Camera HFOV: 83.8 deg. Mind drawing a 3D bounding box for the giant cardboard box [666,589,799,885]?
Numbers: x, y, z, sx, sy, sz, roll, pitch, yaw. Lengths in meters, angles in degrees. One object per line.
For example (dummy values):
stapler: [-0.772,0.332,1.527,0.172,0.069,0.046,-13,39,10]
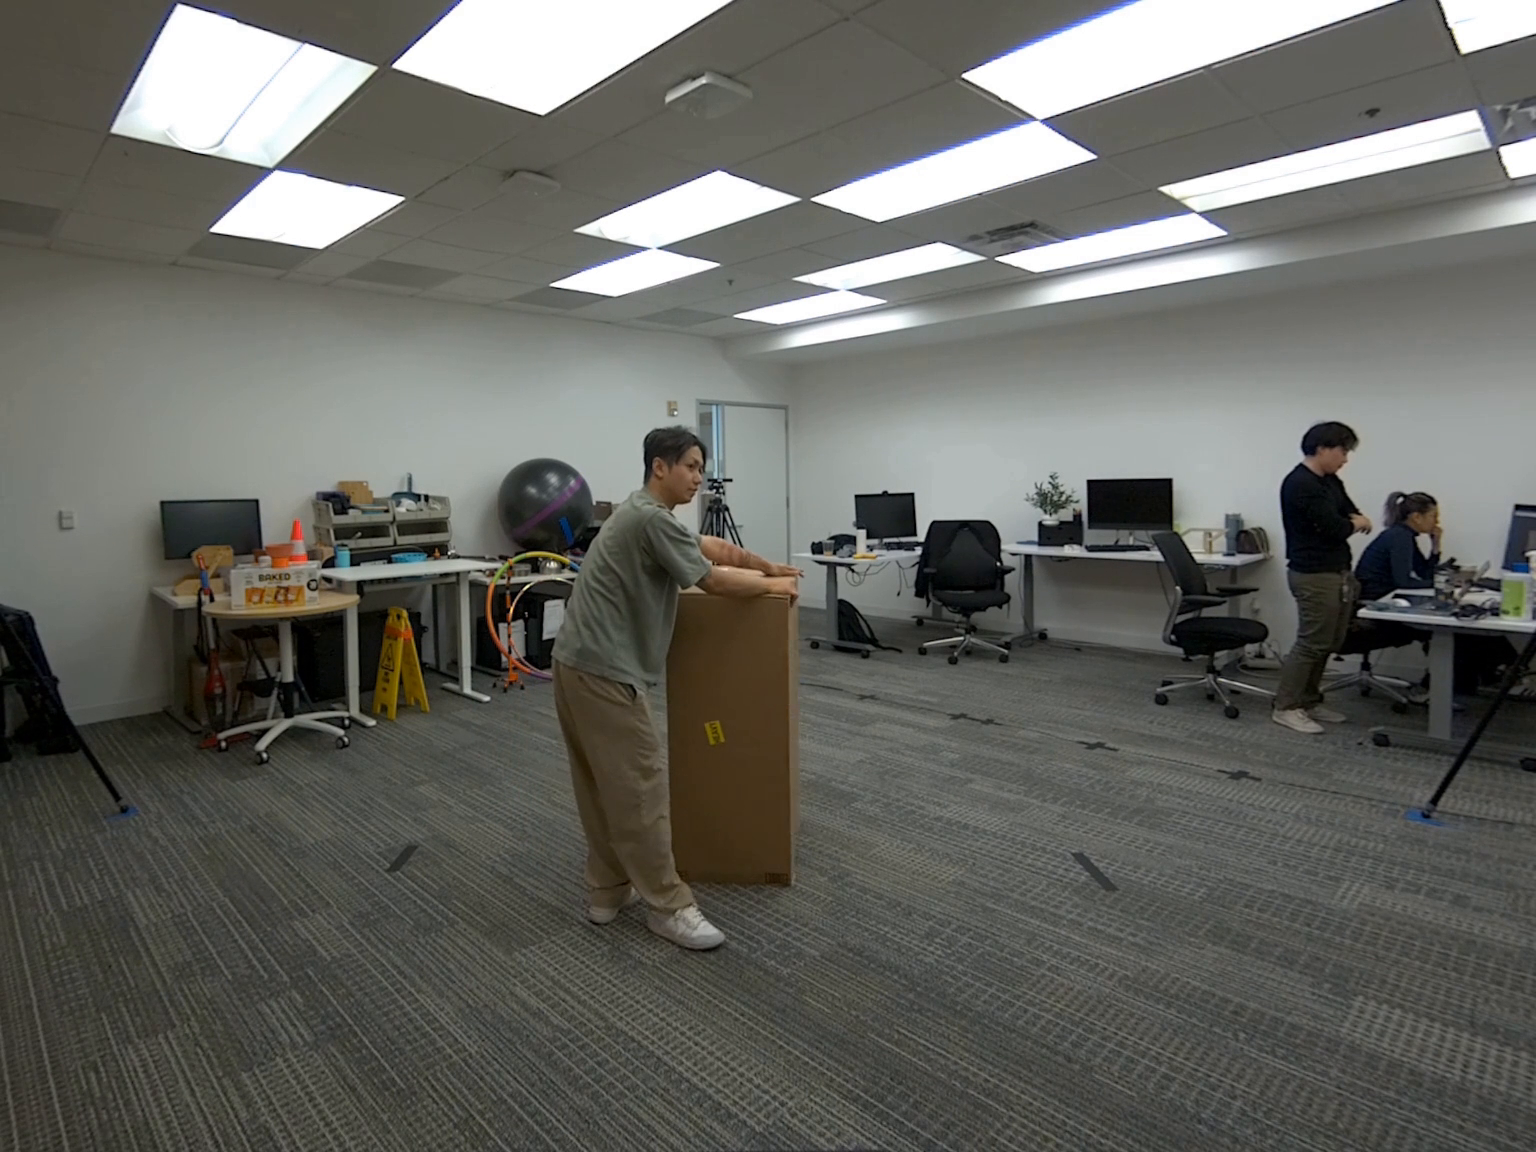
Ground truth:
giant cardboard box: [-0.115,0.517,3.179,0.429,1.019,0.578,0,8,5]
